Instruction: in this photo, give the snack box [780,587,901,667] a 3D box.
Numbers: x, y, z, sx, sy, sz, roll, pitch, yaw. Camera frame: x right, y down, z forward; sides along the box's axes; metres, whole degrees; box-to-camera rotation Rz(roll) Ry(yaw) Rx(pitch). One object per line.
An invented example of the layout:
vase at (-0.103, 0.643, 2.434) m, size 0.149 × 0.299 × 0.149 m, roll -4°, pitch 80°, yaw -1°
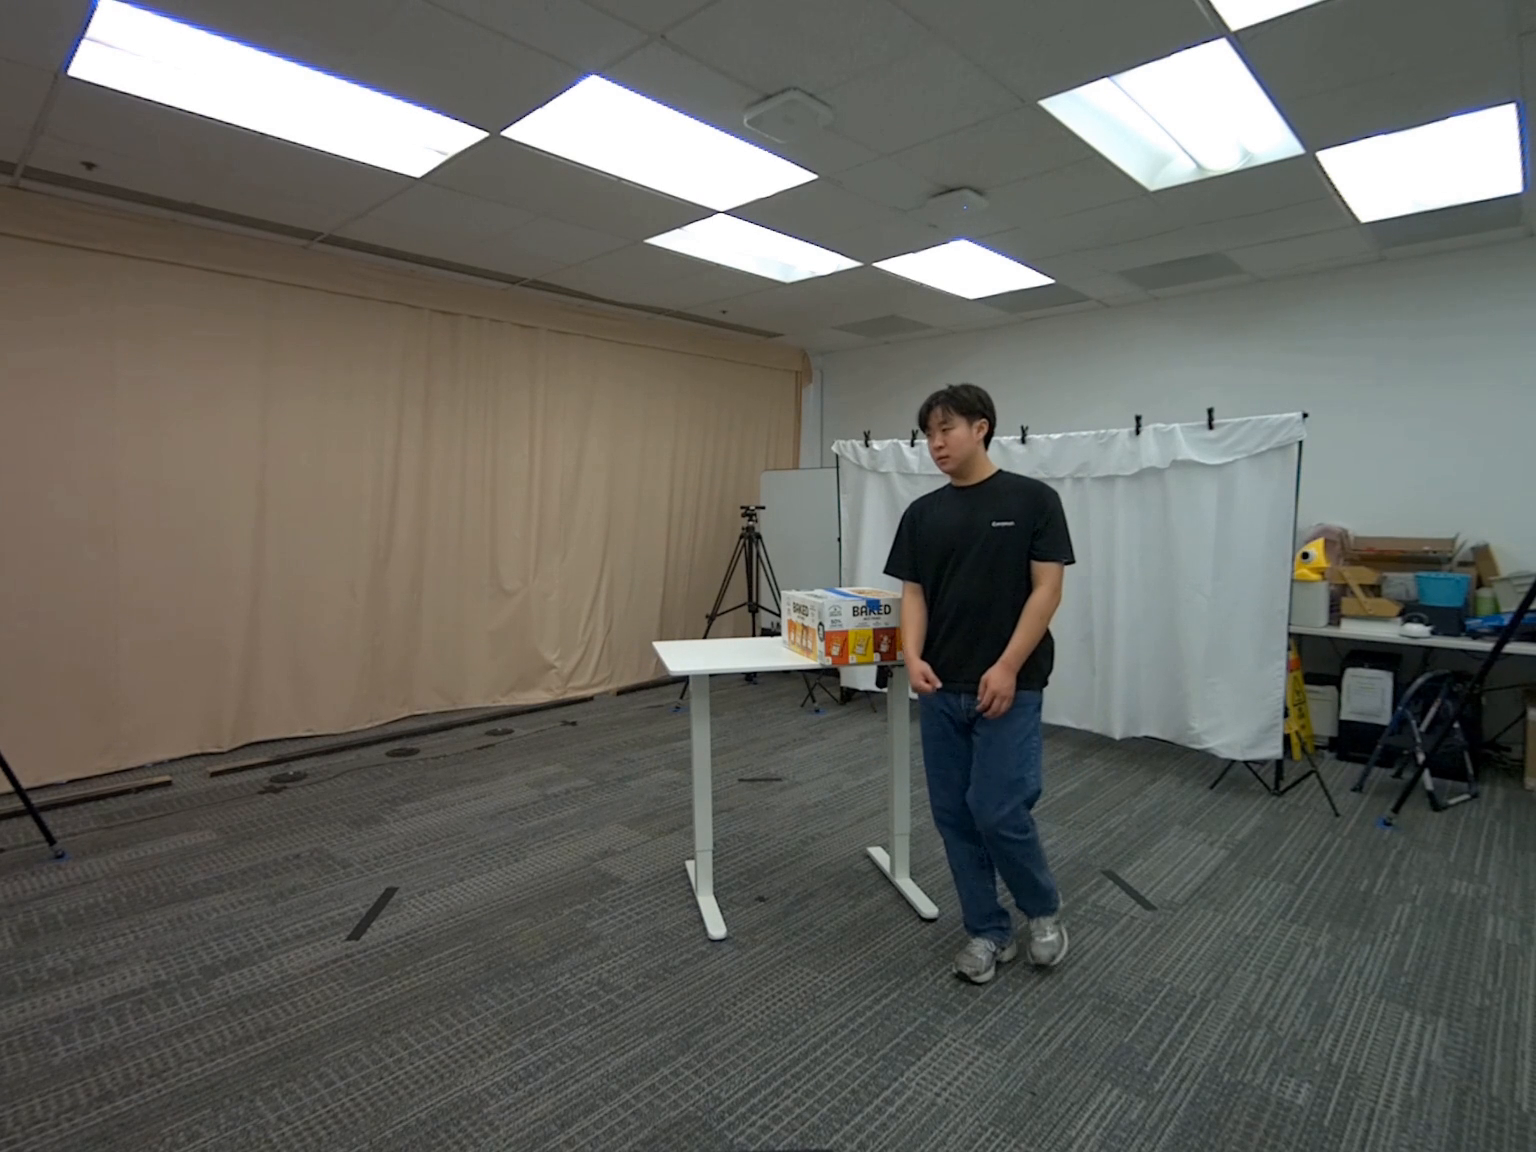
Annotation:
snack box at (0.278, 0.163, 2.889) m, size 0.335 × 0.205 × 0.413 m, roll -2°, pitch 4°, yaw -17°
